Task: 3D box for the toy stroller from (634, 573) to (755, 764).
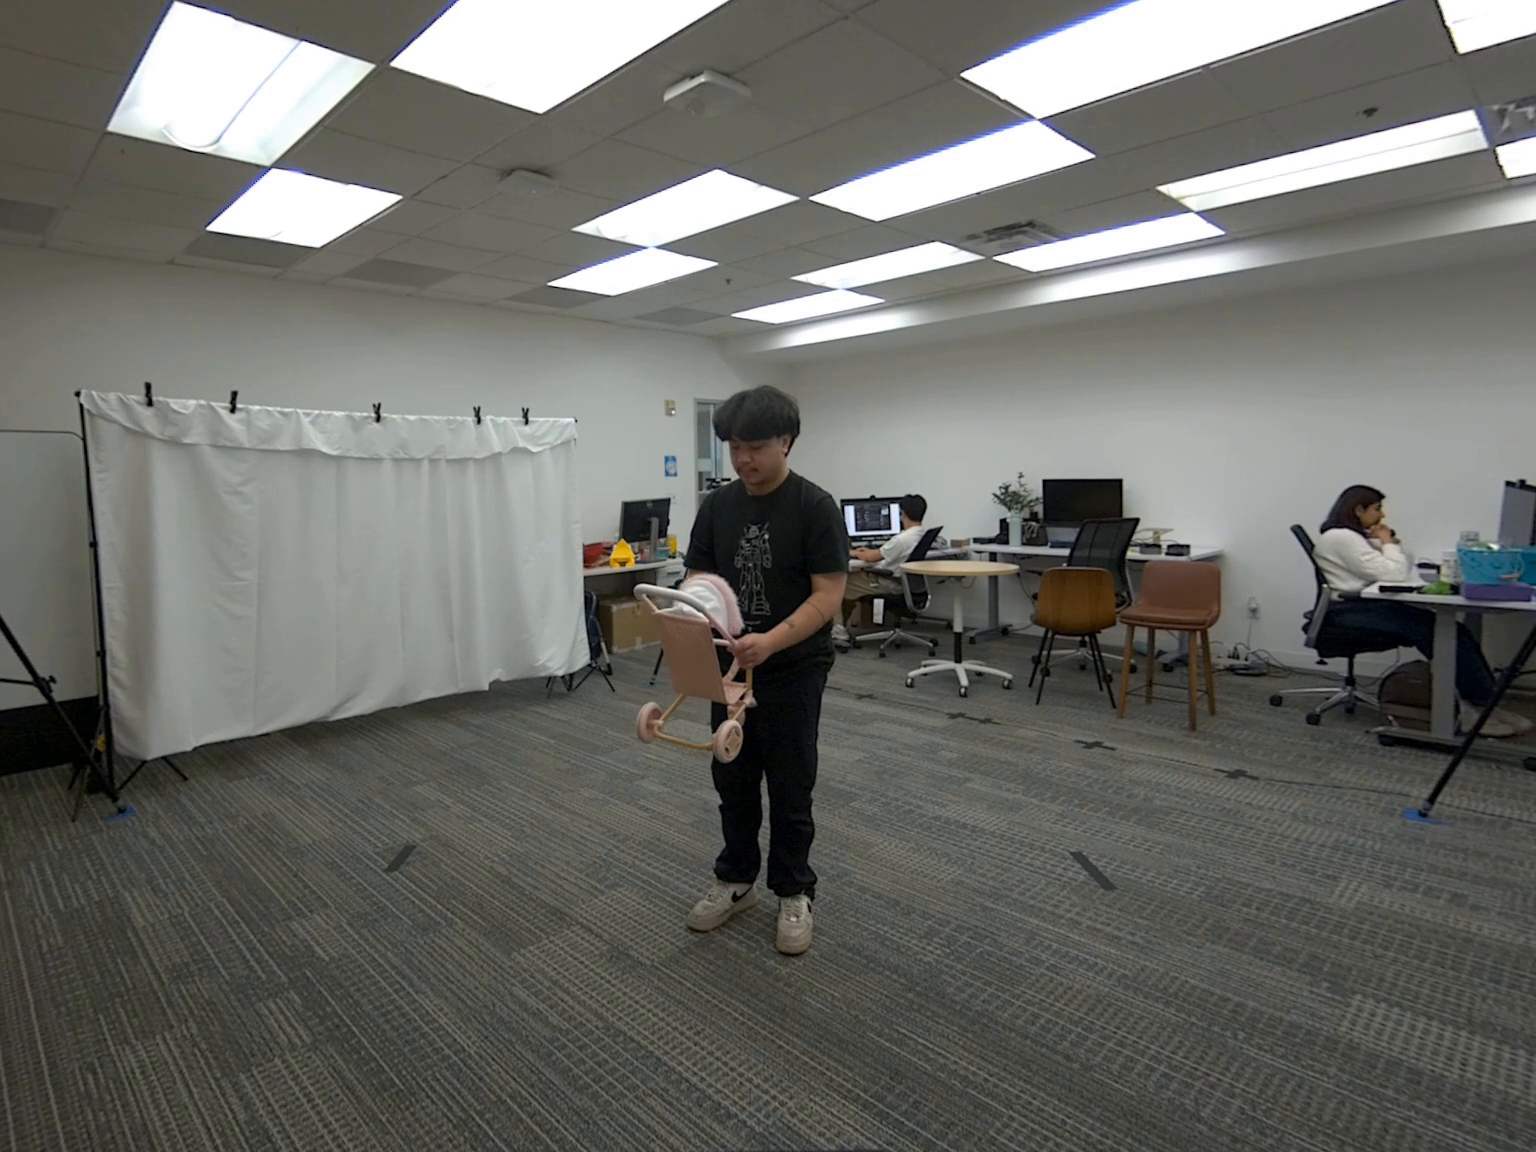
[{"bbox_3d":[-0.167,0.237,2.301,0.290,0.527,0.336,7,20,34],"label":"toy stroller"}]
